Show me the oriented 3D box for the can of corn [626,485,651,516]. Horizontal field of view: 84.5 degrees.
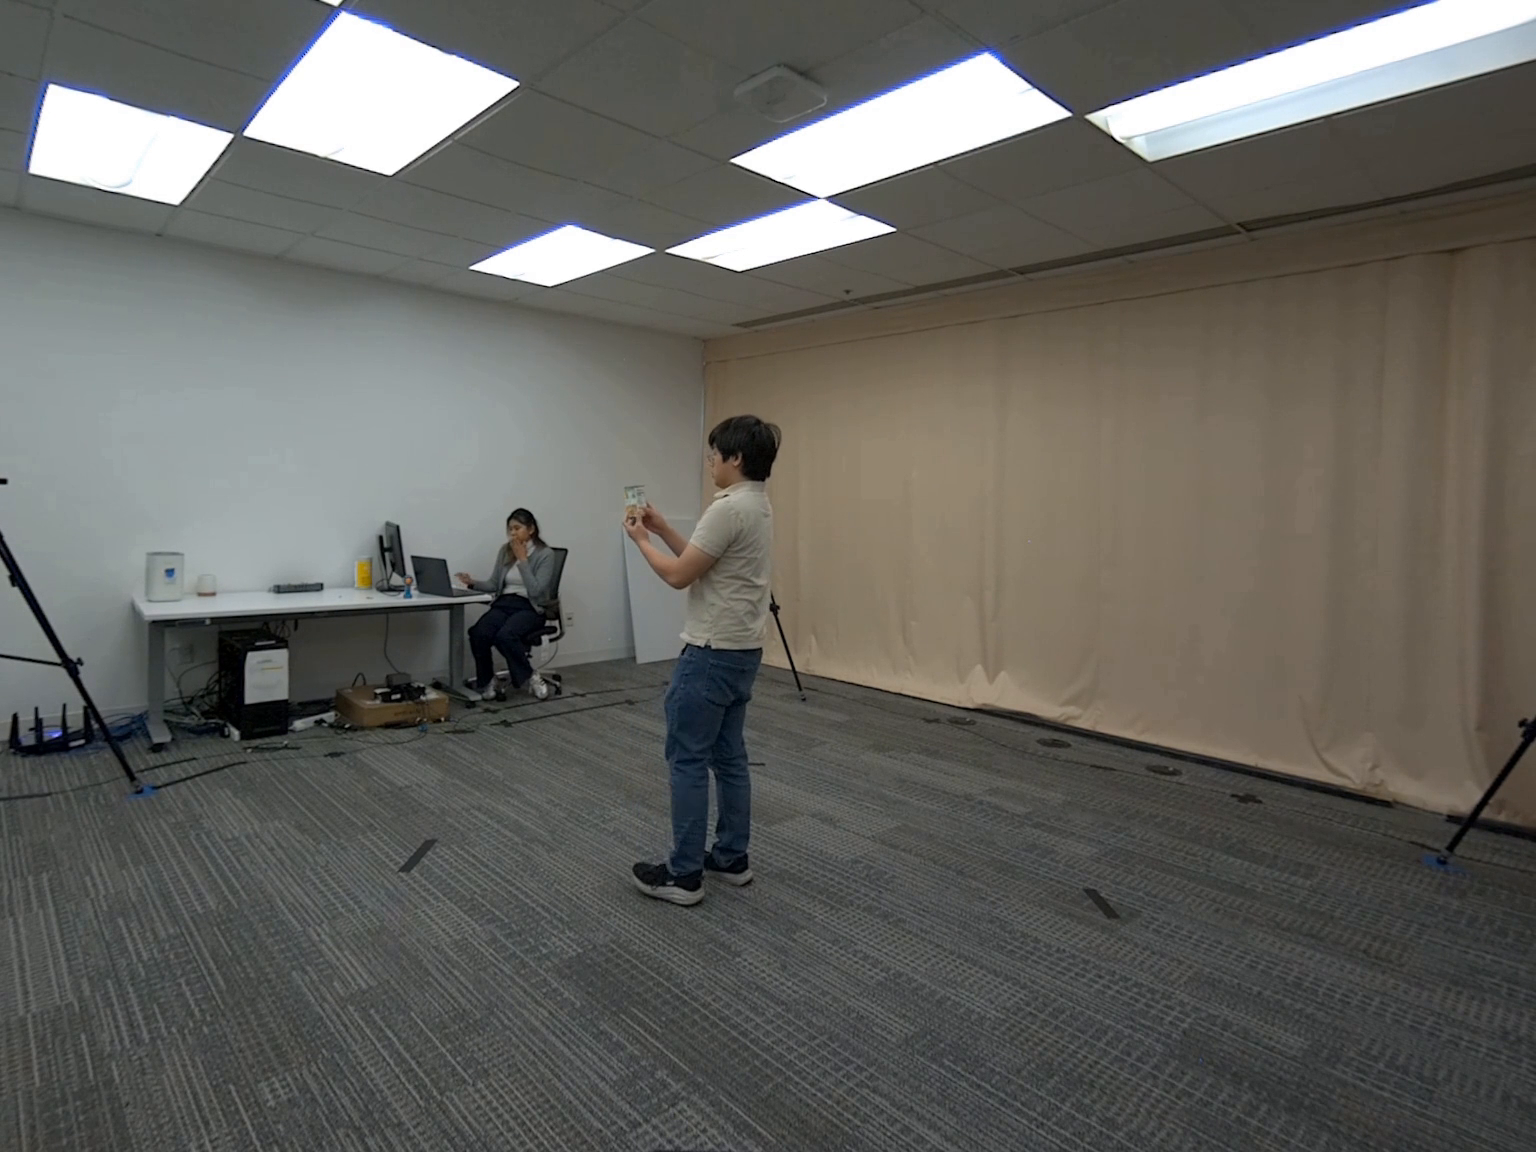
[{"bbox_3d":[-0.469,-0.267,3.079,0.074,0.111,0.074,-8,0,-1],"label":"can of corn"}]
